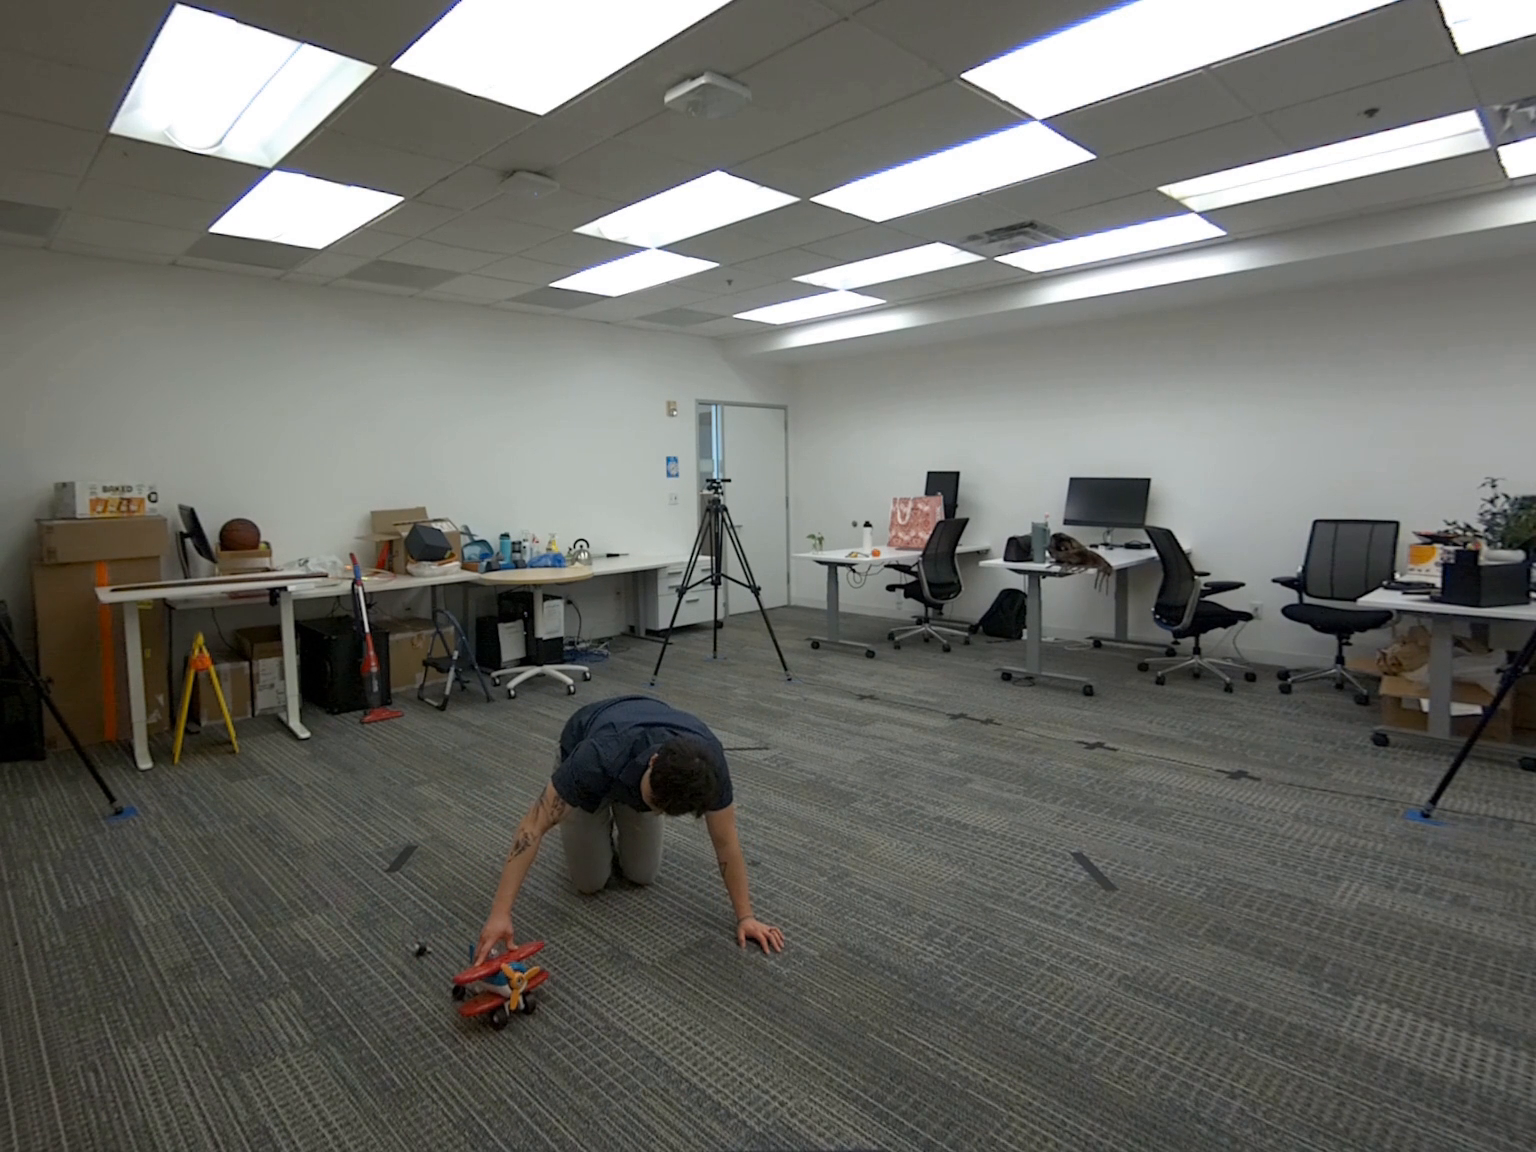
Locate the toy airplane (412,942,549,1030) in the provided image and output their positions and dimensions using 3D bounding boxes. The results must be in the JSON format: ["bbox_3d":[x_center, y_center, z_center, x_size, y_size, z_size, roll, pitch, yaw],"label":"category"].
[{"bbox_3d":[-0.748,1.094,2.274,0.263,0.156,0.247,2,3,16],"label":"toy airplane"}]
